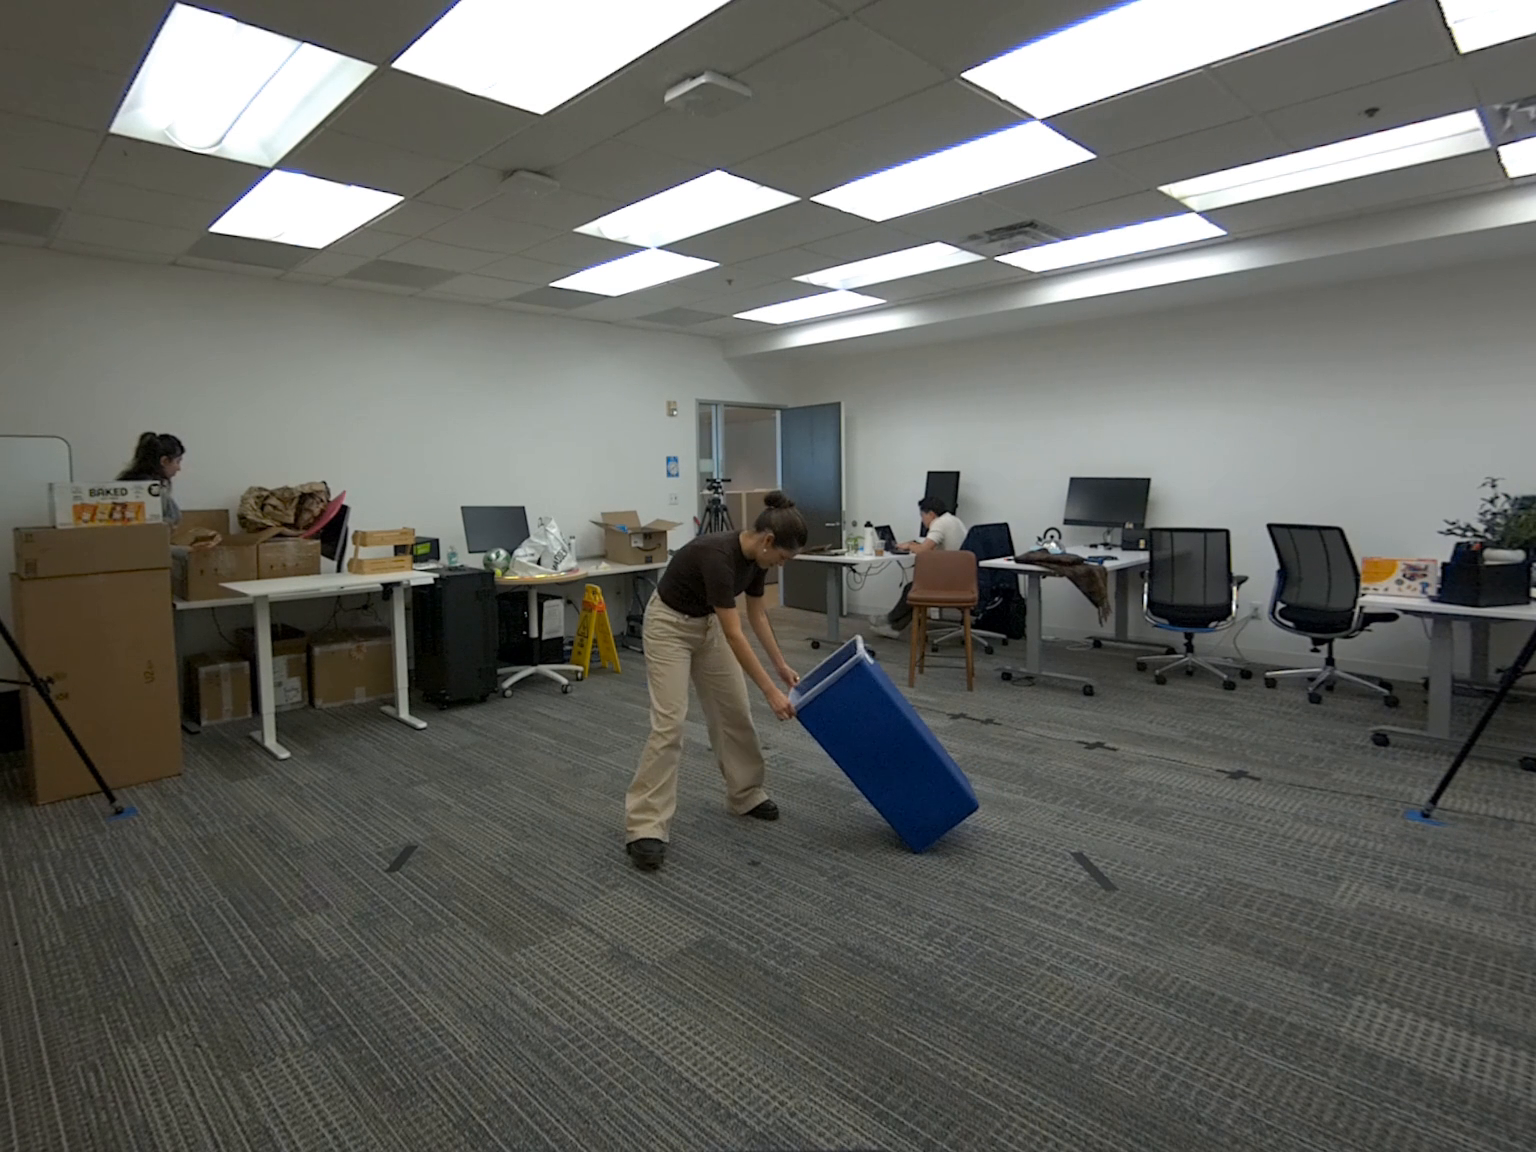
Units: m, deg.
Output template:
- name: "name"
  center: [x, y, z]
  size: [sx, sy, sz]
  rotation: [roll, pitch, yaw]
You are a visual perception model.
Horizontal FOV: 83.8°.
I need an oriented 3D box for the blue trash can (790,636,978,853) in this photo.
- name: "blue trash can"
  center: [0.432, 0.650, 3.270]
  size: [0.374, 0.715, 0.377]
  rotation: [-39, -1, 6]
